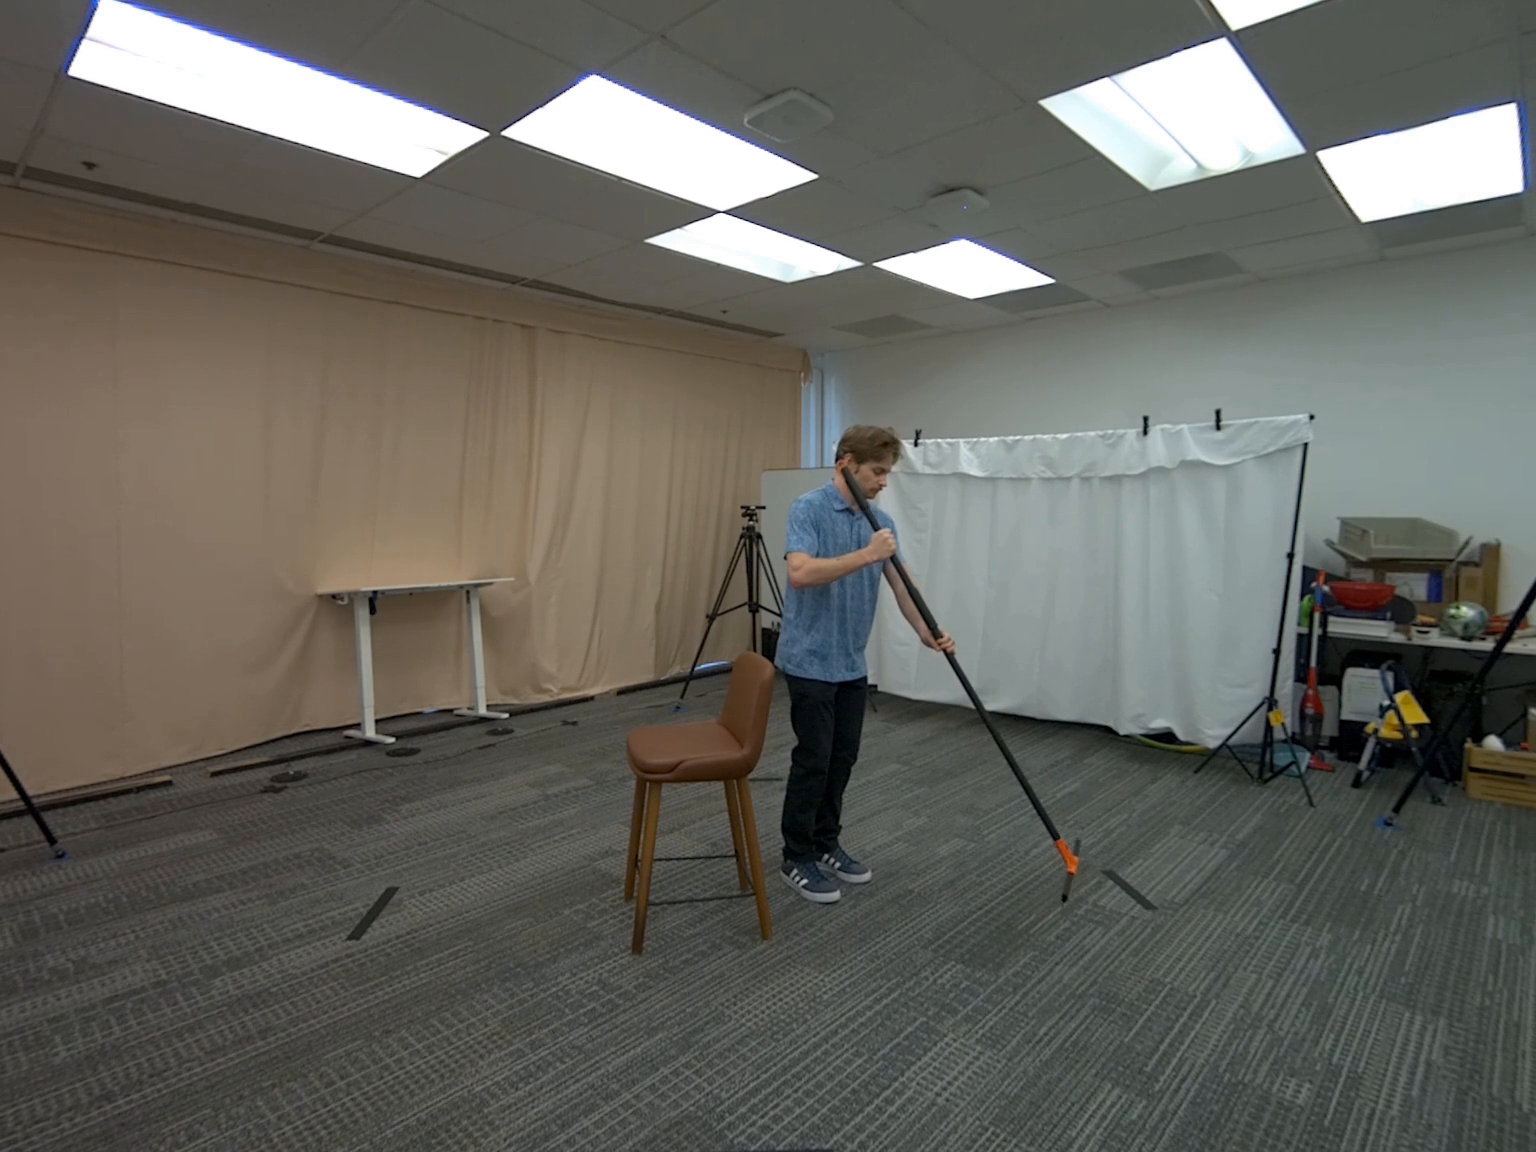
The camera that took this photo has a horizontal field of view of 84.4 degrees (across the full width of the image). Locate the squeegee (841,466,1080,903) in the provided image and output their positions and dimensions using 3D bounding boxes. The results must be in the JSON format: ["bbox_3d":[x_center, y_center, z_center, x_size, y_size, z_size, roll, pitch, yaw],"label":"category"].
[{"bbox_3d":[0.662,0.288,2.802,0.053,1.553,0.427,-30,-10,24],"label":"squeegee"}]
